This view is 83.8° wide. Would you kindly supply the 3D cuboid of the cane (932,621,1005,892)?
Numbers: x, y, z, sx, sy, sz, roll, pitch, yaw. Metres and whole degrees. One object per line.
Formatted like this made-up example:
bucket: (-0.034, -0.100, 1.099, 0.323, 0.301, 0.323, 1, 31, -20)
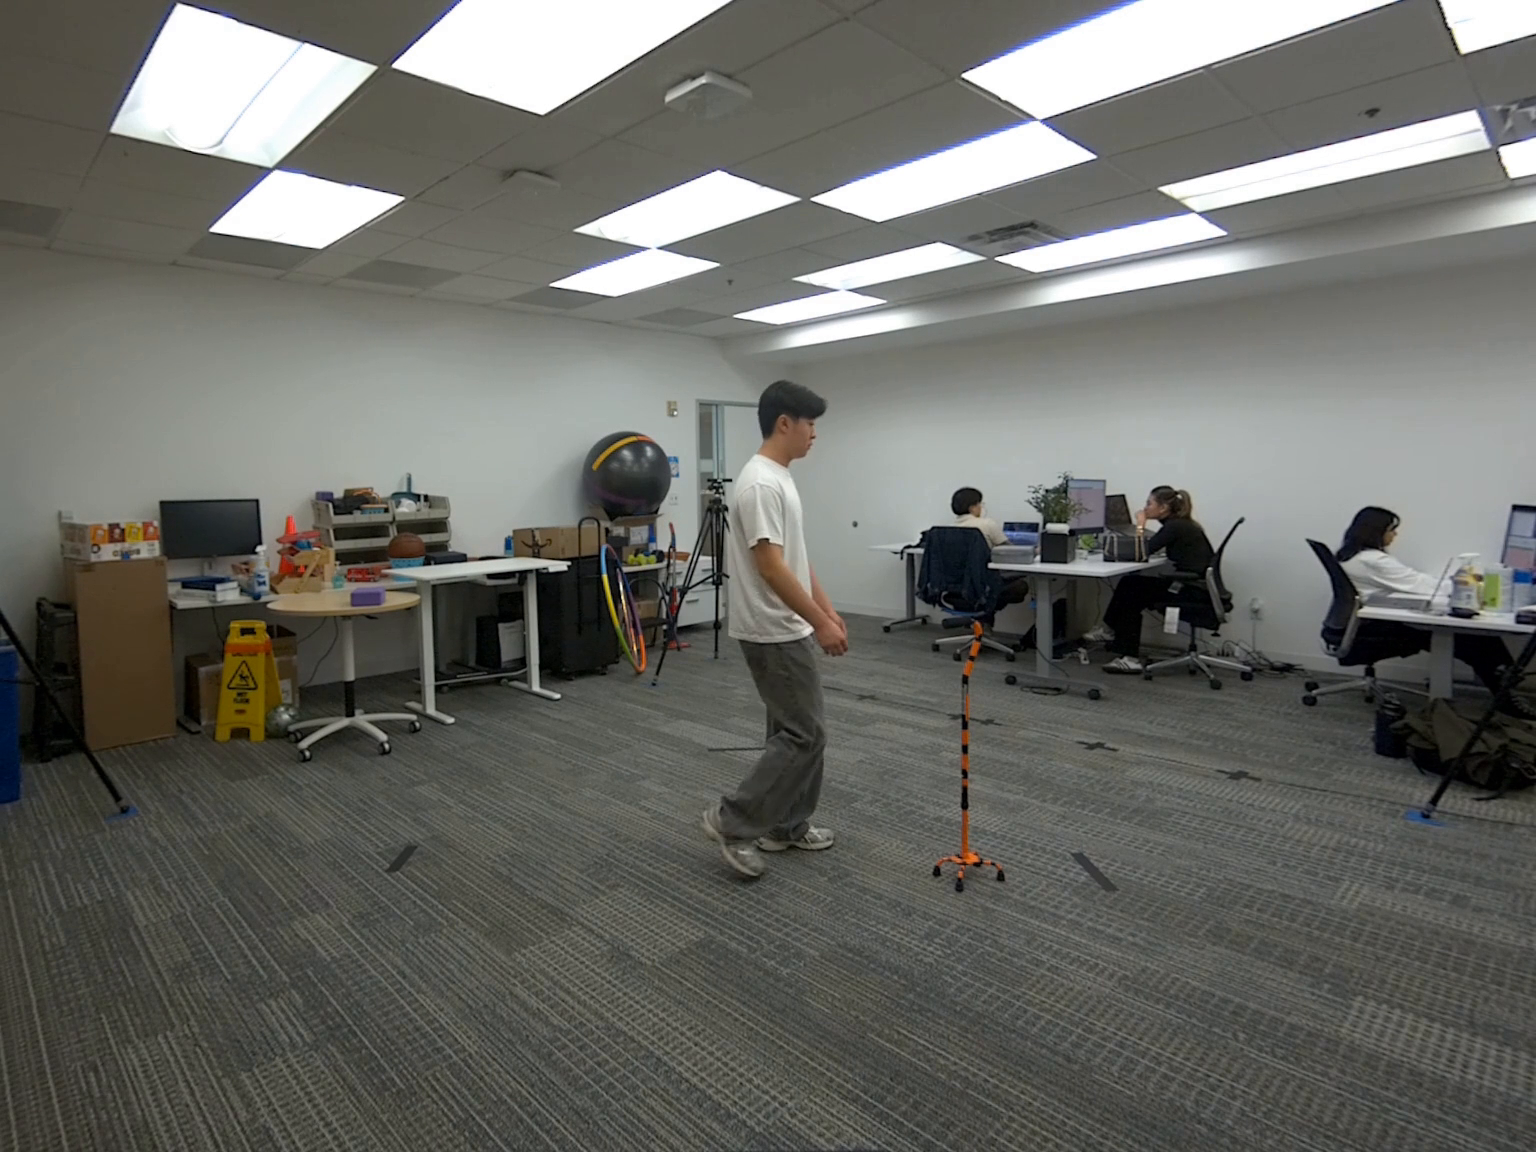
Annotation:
cane: (0.692, 0.590, 2.937, 0.202, 0.905, 0.155, -2, 4, -26)
